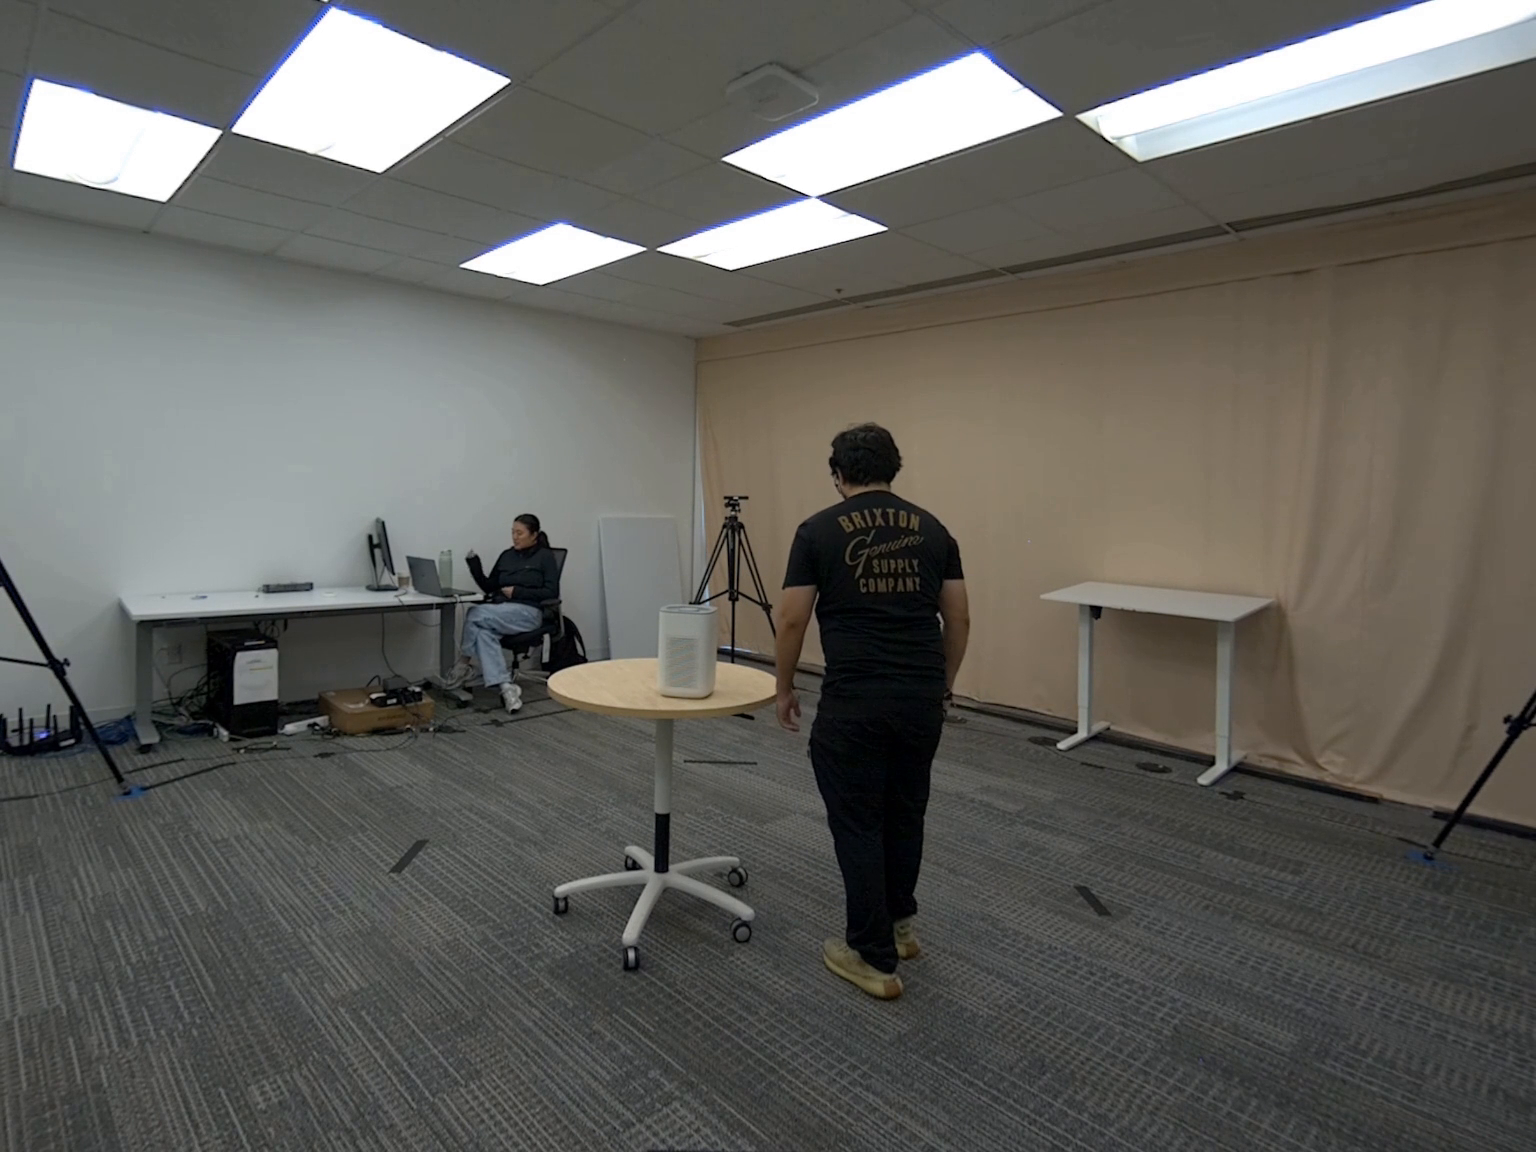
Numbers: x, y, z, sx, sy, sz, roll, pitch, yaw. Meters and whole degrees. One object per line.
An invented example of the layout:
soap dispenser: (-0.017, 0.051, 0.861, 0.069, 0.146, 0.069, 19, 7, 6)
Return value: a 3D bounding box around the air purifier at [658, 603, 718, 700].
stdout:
air purifier: (-0.254, 0.233, 2.600, 0.172, 0.264, 0.171, 2, 5, 6)
